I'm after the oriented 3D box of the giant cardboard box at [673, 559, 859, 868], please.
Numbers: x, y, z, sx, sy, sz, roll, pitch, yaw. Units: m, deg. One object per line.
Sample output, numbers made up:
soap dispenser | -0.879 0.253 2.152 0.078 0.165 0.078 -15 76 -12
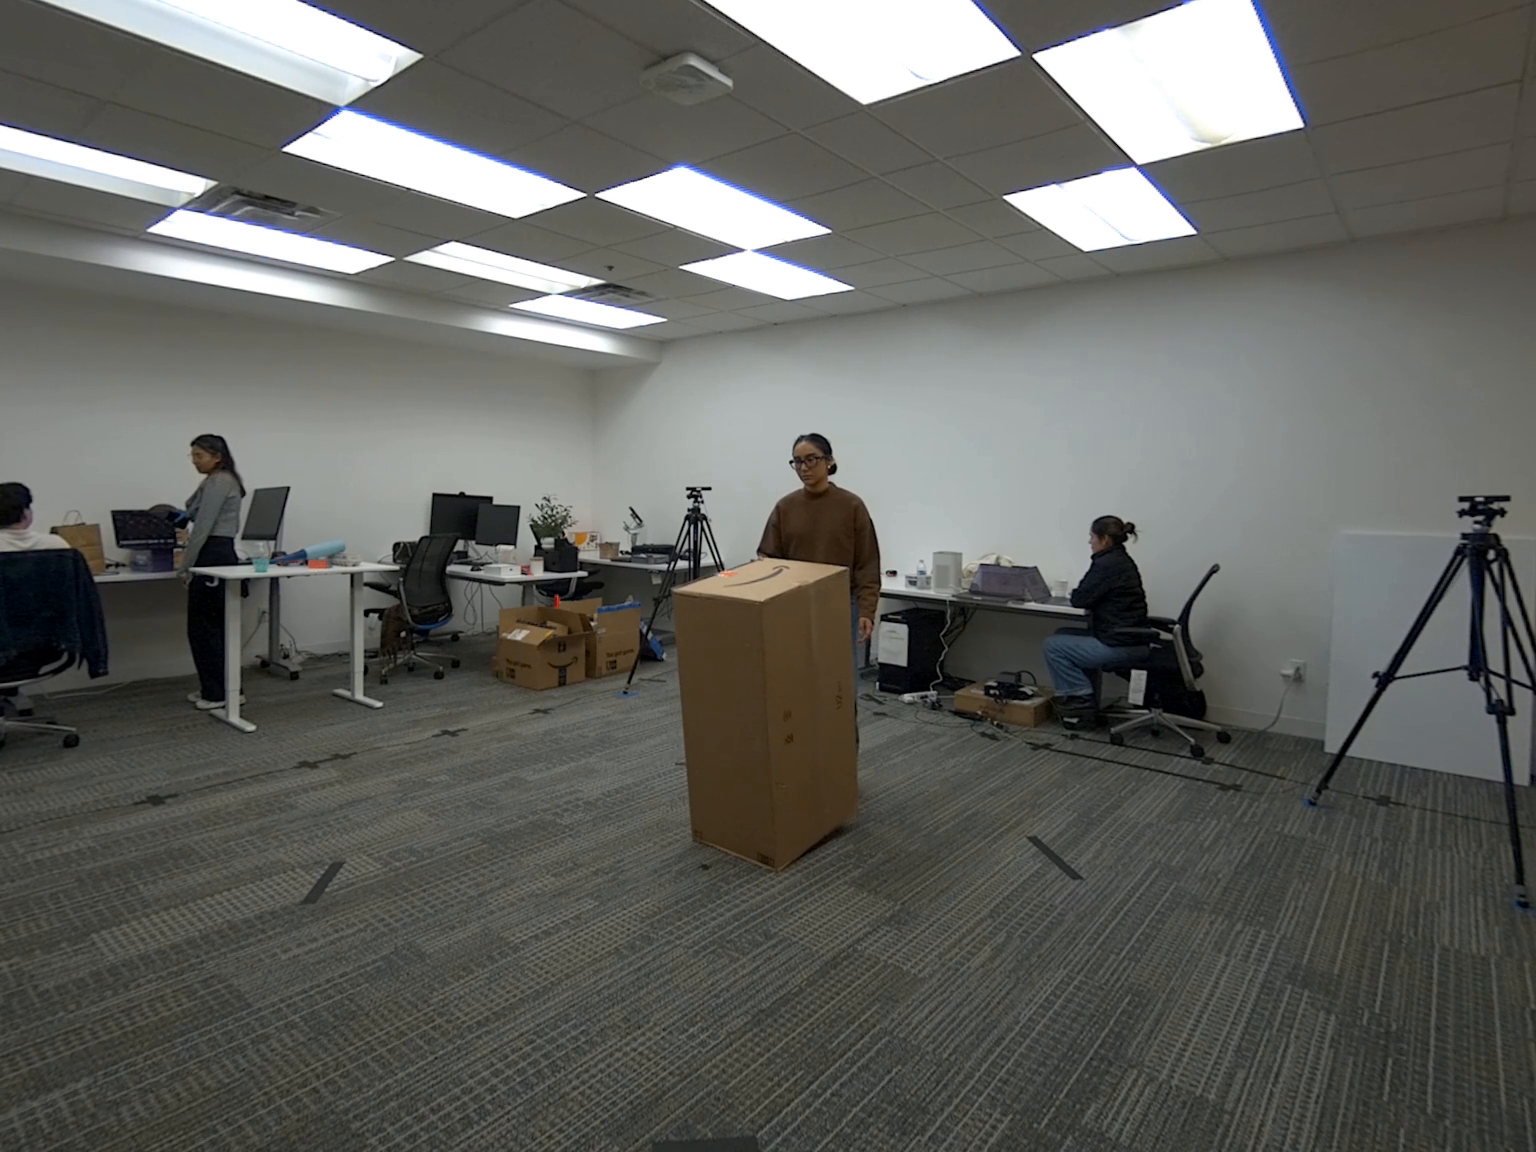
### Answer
giant cardboard box | -0.004 0.501 3.340 0.440 1.014 0.565 5 14 38
